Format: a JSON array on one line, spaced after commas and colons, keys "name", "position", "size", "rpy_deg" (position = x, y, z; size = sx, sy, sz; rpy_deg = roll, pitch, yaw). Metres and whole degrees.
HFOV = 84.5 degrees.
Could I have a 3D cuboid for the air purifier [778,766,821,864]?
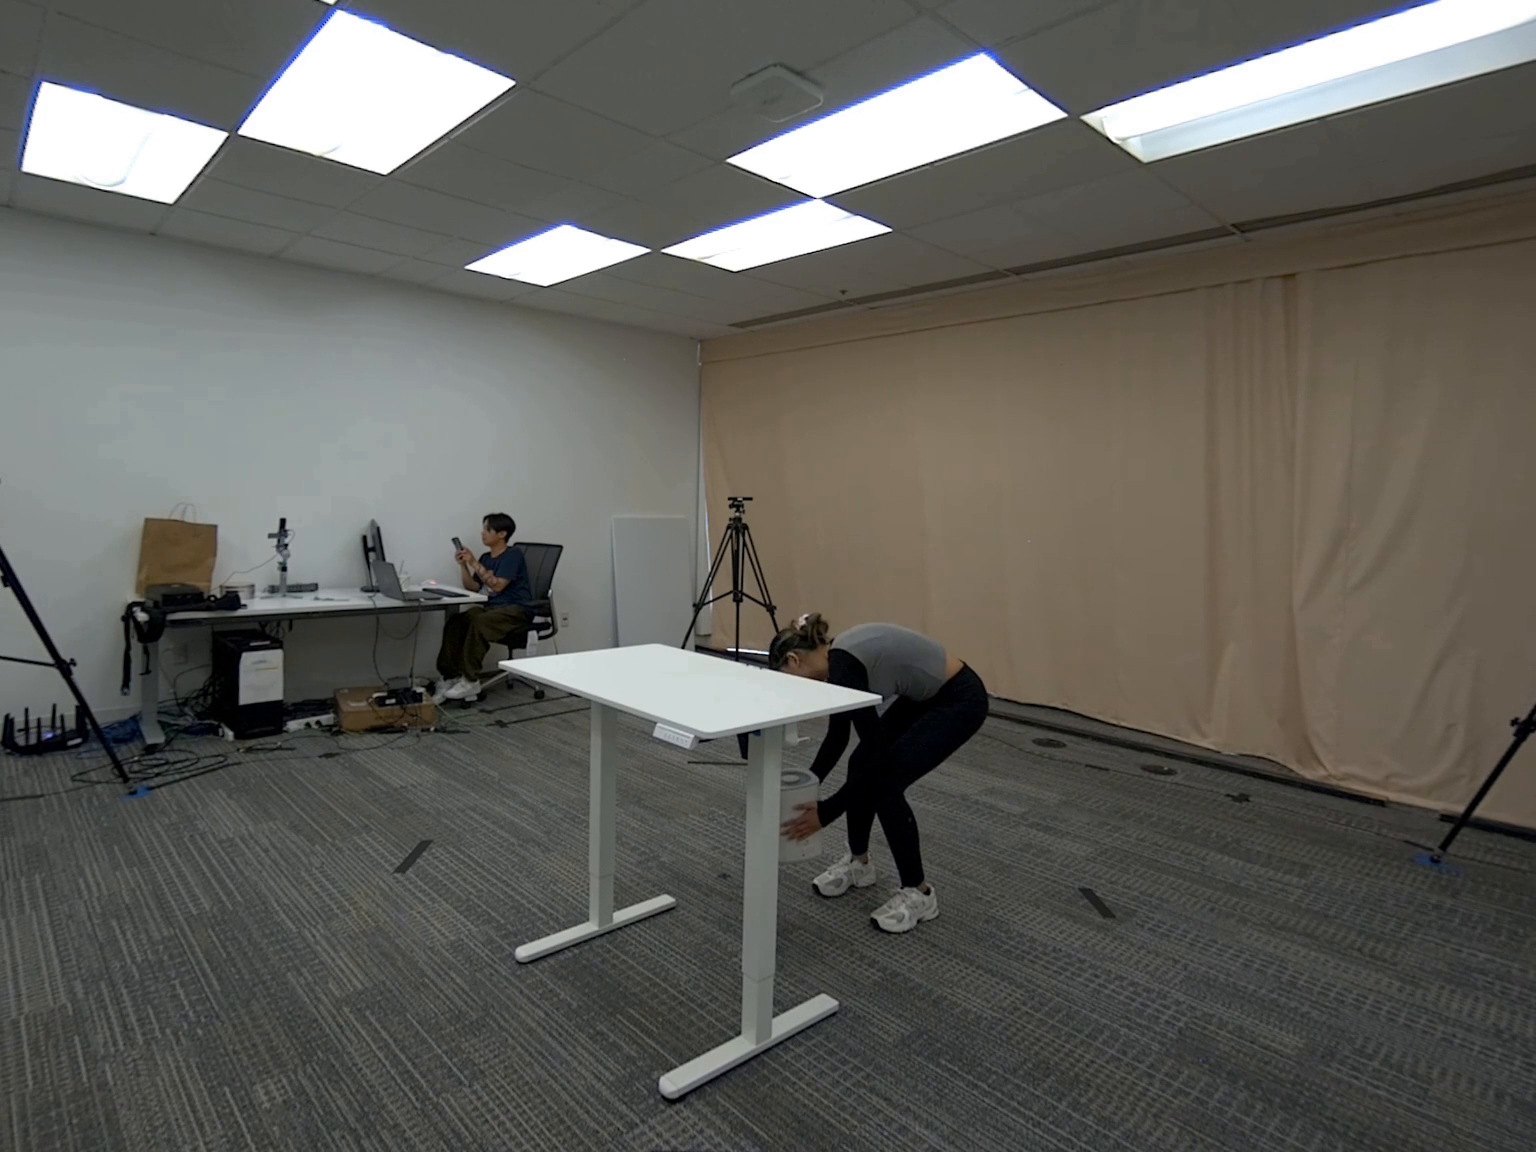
[{"name": "air purifier", "position": [0.077, 0.794, 2.807], "size": [0.168, 0.264, 0.175], "rpy_deg": [-5, 6, -21]}]
